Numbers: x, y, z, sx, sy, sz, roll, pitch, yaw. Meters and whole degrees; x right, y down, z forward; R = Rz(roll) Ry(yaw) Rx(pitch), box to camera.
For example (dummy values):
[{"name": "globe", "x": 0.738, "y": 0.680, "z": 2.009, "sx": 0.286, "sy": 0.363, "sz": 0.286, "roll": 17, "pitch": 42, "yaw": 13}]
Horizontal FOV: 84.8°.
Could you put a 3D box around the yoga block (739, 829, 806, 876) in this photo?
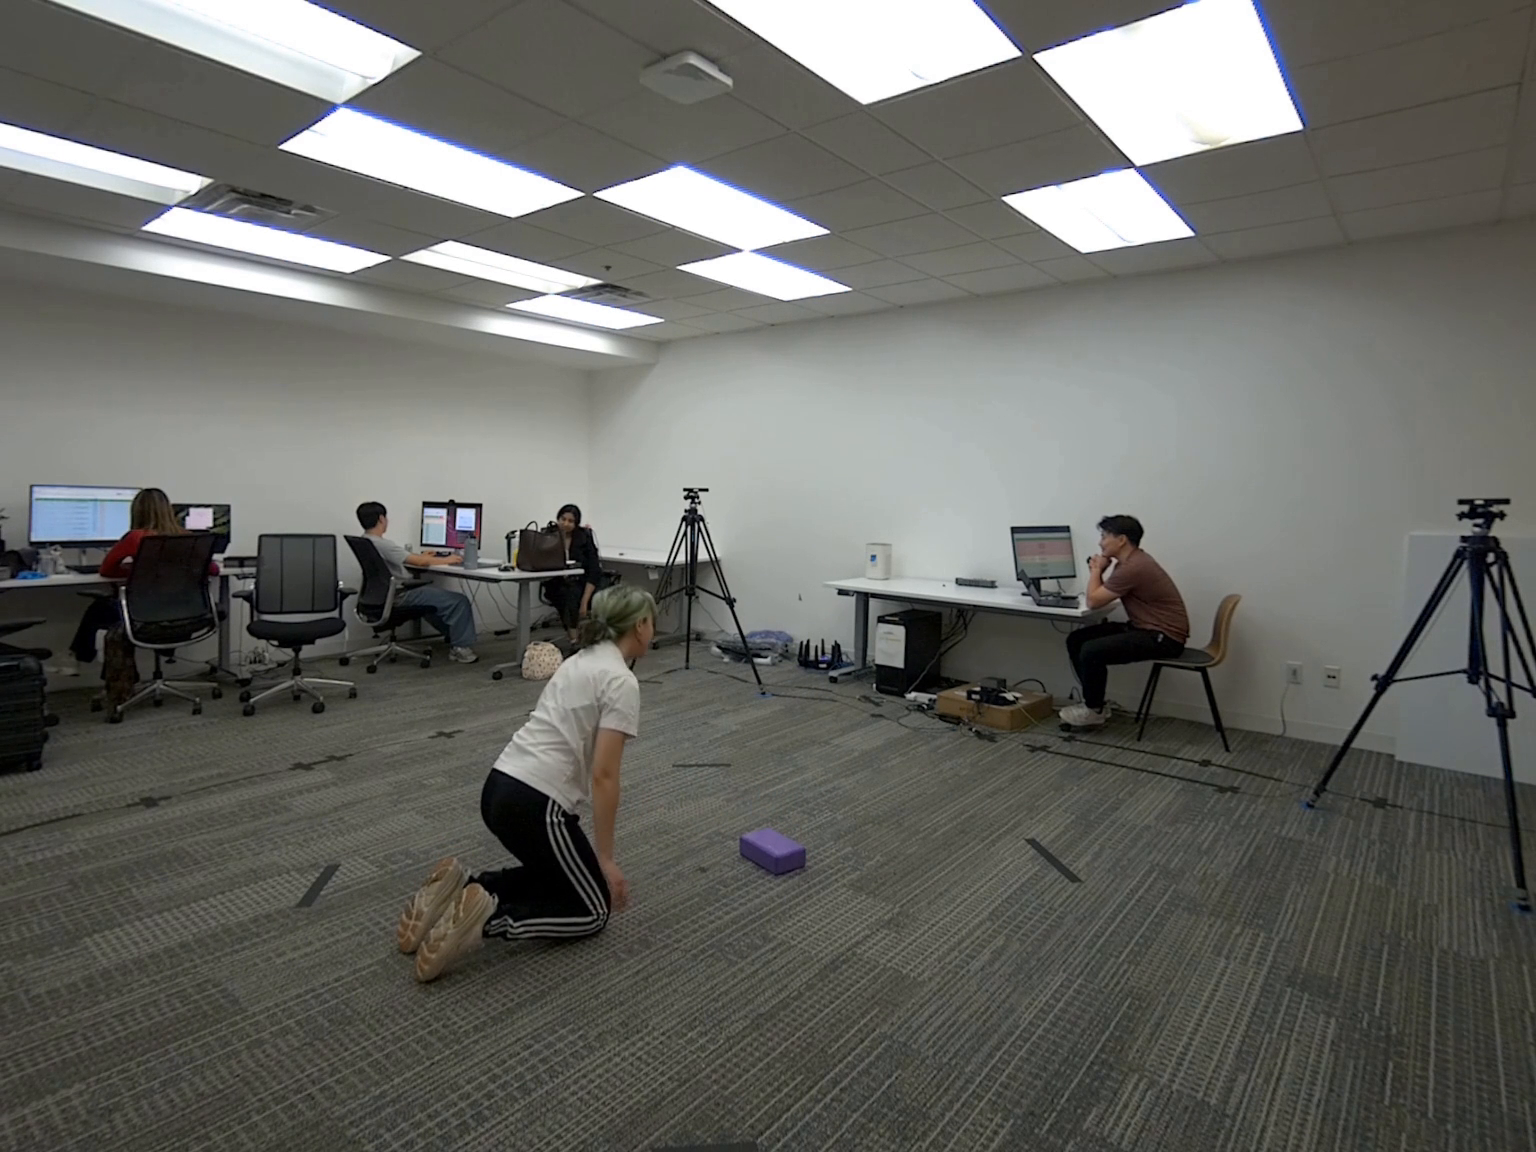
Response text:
[{"name": "yoga block", "x": 0.008, "y": 1.025, "z": 3.193, "sx": 0.144, "sy": 0.076, "sz": 0.237, "roll": -2, "pitch": 5, "yaw": -37}]
